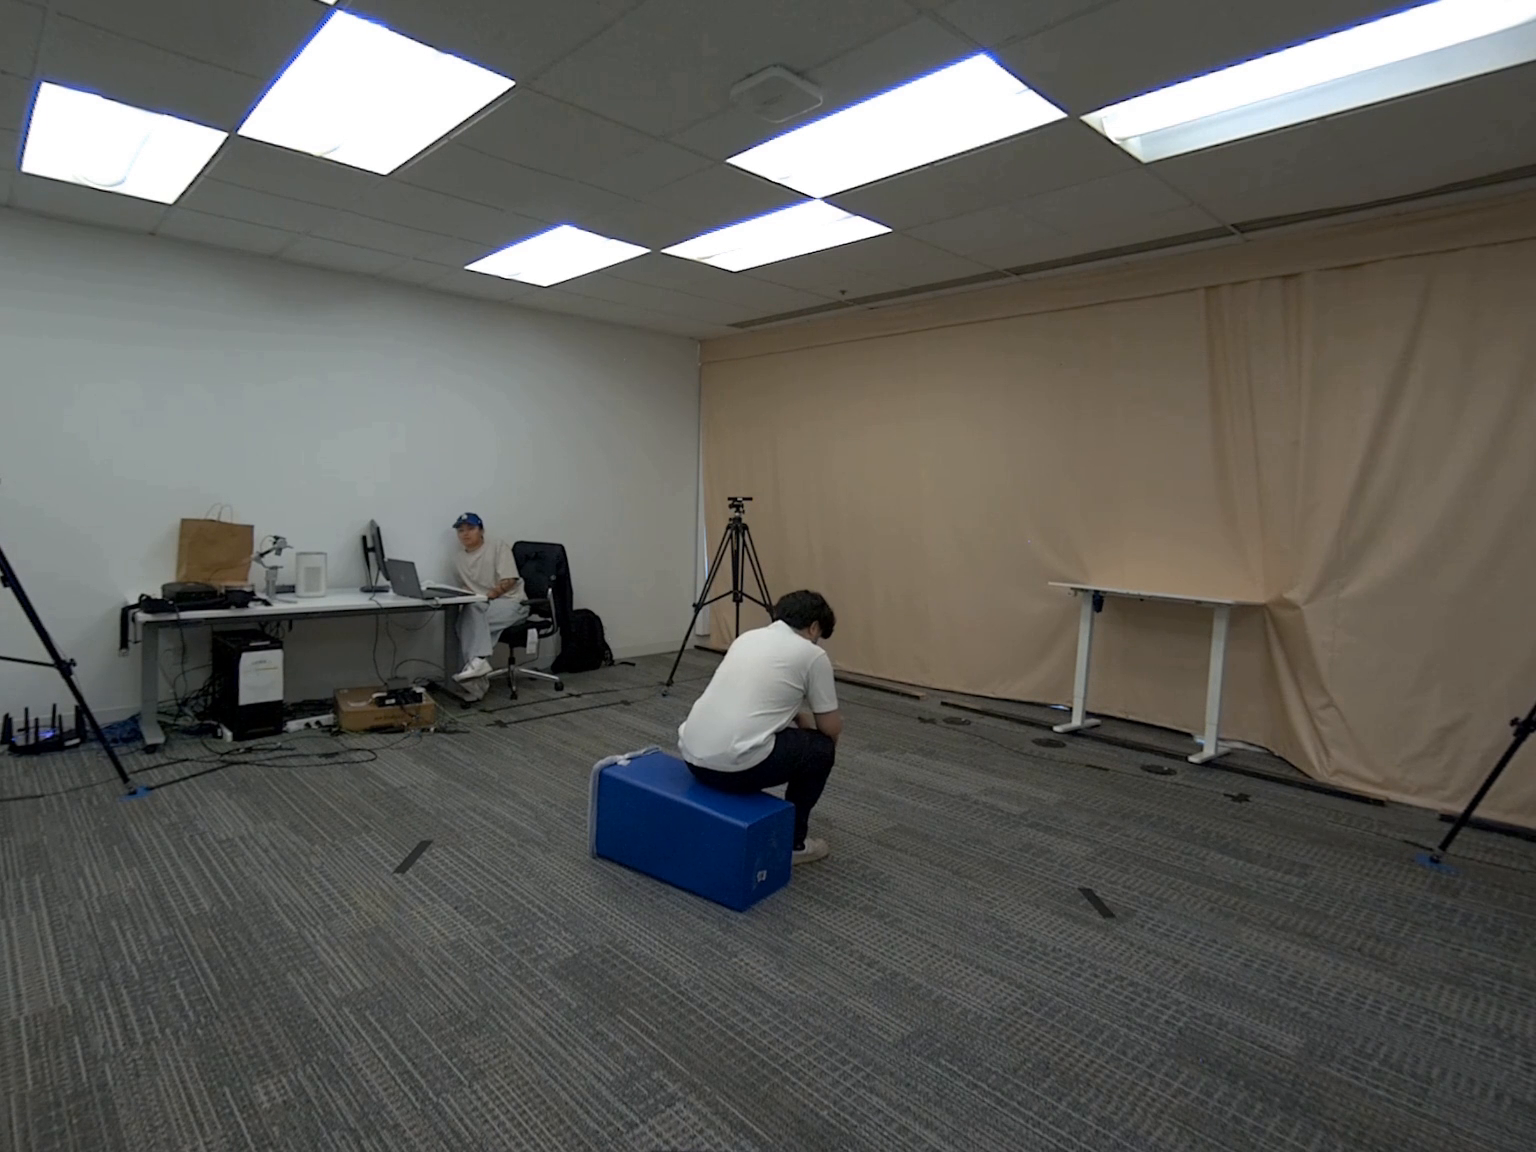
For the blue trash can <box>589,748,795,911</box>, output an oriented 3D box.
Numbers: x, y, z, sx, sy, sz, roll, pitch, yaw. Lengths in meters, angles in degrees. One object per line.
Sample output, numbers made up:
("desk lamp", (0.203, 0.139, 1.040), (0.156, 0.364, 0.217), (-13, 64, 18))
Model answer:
("blue trash can", (-0.295, 0.934, 3.142), (0.732, 0.373, 0.369), (9, 6, 37))
